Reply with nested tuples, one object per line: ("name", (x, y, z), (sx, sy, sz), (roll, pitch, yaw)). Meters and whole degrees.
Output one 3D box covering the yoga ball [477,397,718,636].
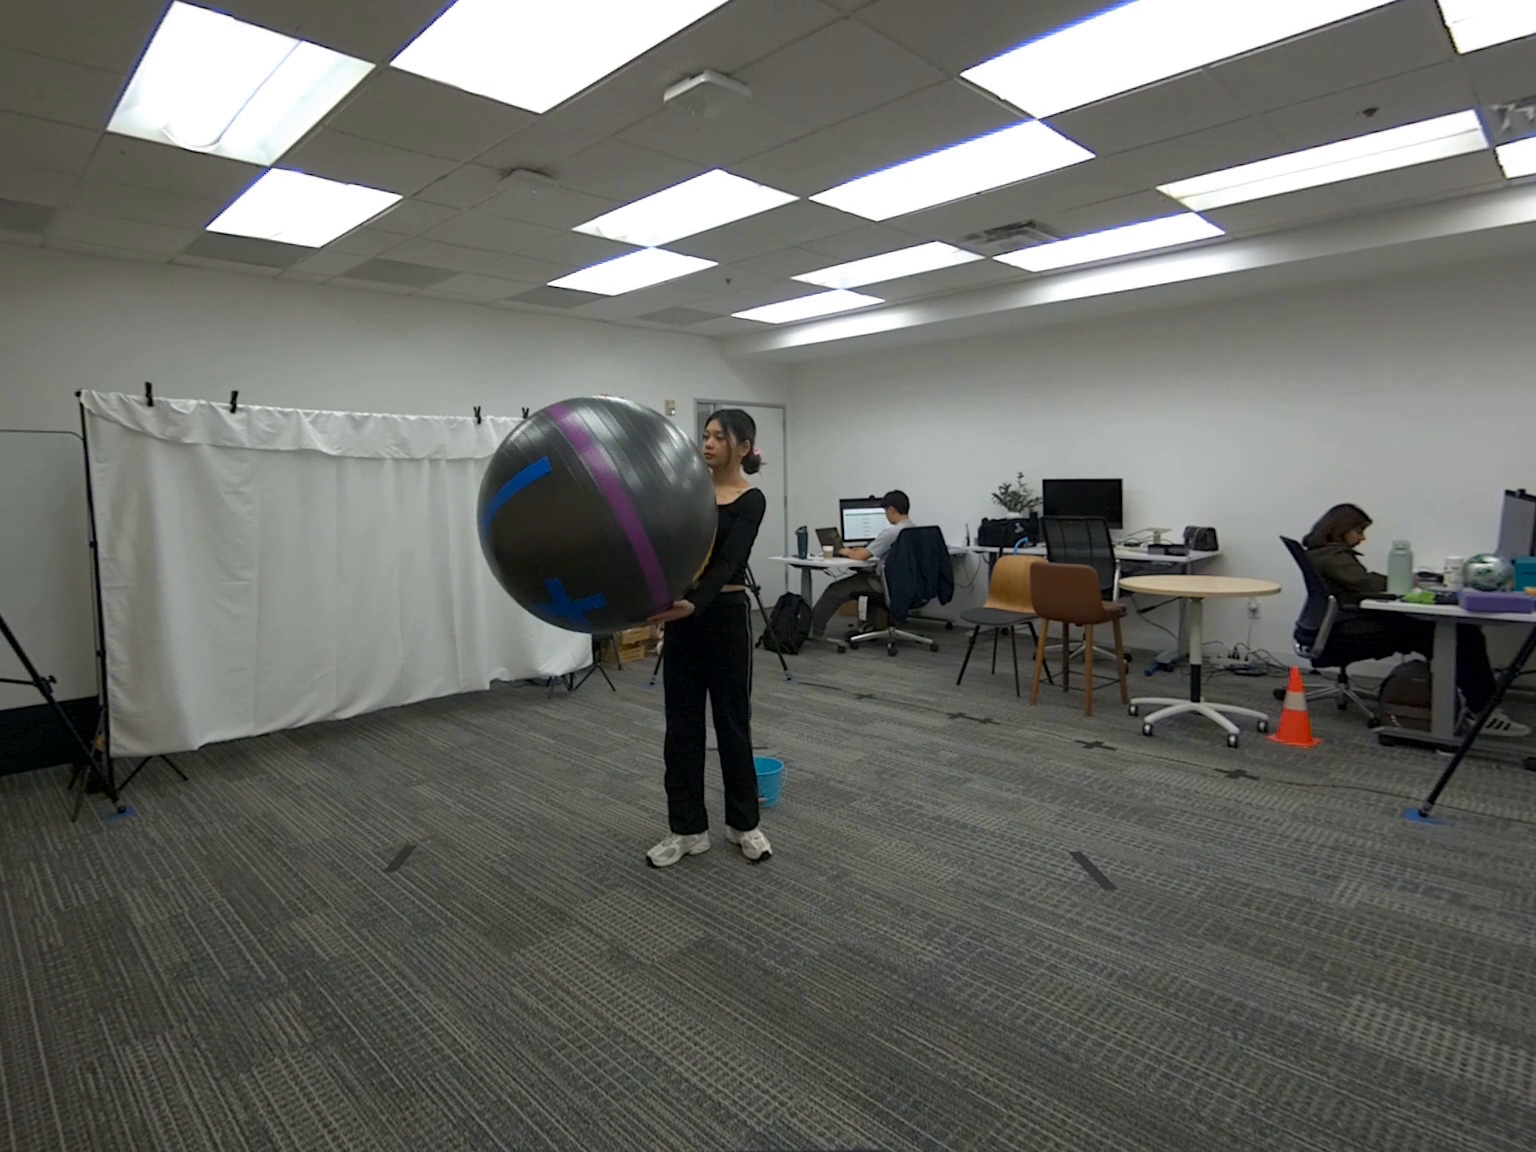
("yoga ball", (-0.539, -0.191, 2.746), (0.757, 0.755, 0.762), (-1, 5, -2))
